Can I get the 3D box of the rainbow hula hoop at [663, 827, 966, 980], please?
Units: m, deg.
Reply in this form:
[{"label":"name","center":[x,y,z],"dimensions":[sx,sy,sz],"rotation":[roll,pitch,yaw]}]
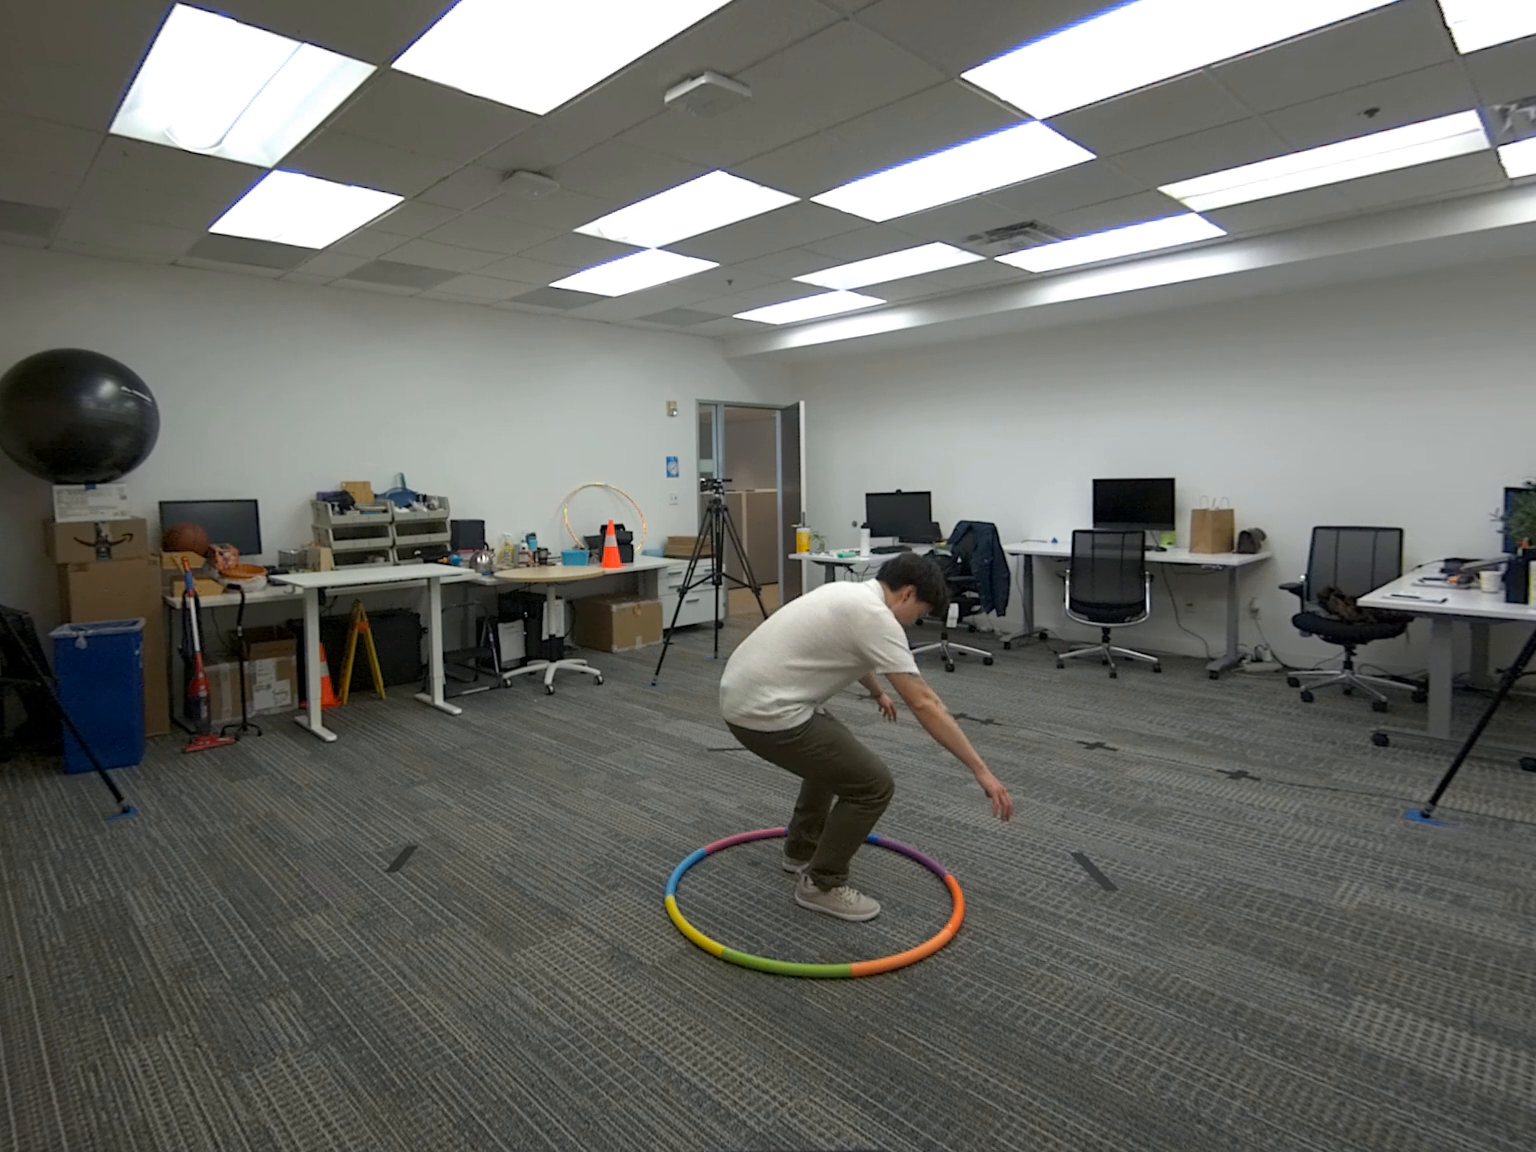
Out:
[{"label":"rainbow hula hoop","center":[0.152,1.041,2.866],"dimensions":[0.978,0.035,0.984],"rotation":[-1,7,-2]}]
